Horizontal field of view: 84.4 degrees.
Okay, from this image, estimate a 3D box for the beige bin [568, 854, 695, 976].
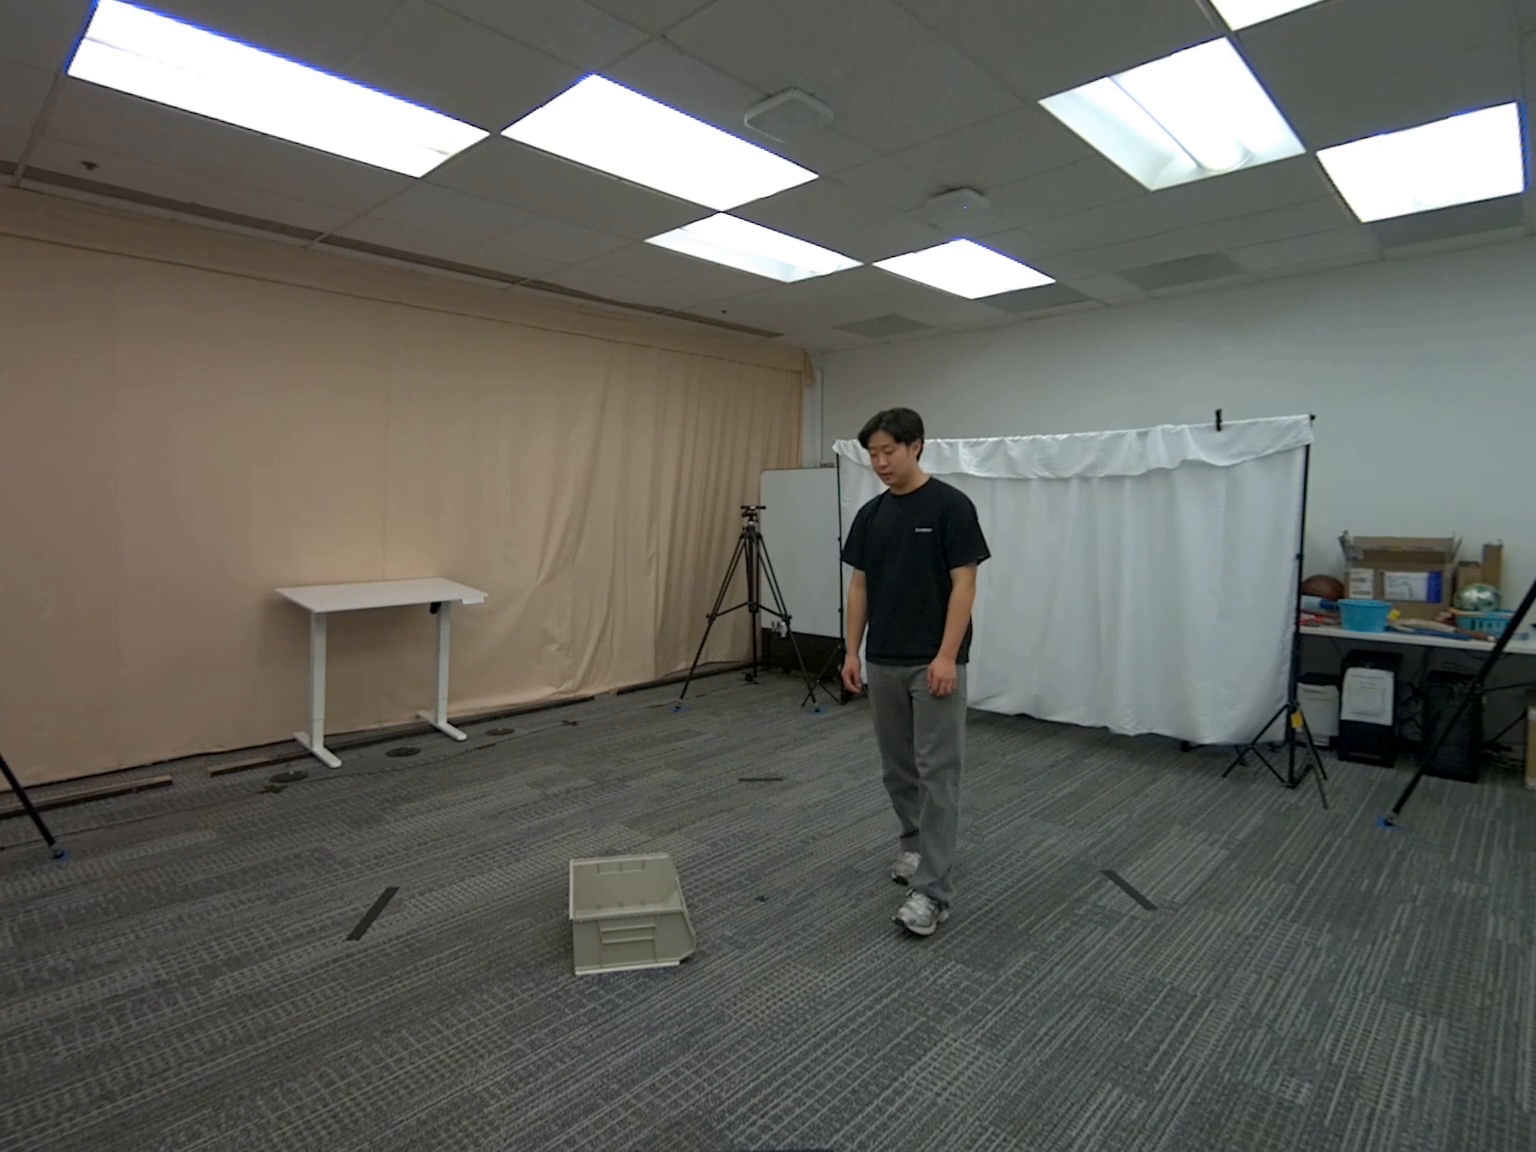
[{"bbox_3d":[-0.446,1.078,2.725,0.373,0.188,0.429,-1,5,-12],"label":"beige bin"}]
